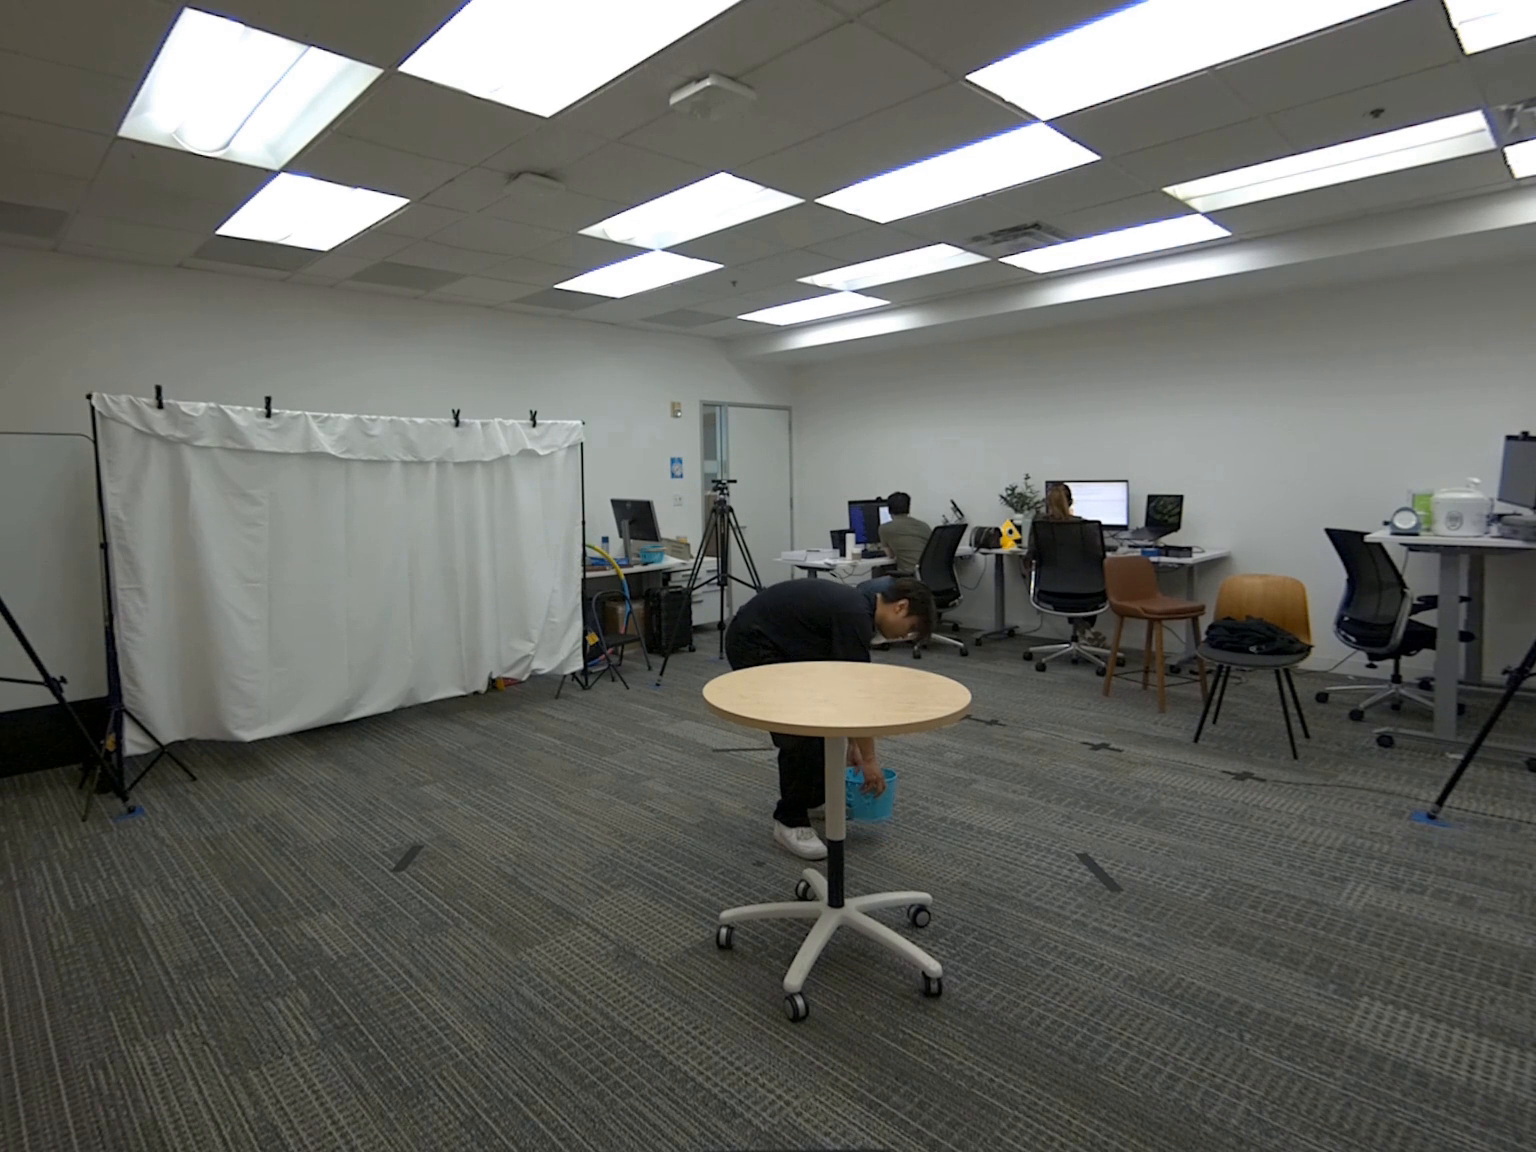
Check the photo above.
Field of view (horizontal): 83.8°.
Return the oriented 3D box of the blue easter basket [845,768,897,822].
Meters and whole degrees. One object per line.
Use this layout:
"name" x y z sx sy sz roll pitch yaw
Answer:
"blue easter basket" 0.381 0.849 3.320 0.243 0.156 0.244 -1 3 -2
